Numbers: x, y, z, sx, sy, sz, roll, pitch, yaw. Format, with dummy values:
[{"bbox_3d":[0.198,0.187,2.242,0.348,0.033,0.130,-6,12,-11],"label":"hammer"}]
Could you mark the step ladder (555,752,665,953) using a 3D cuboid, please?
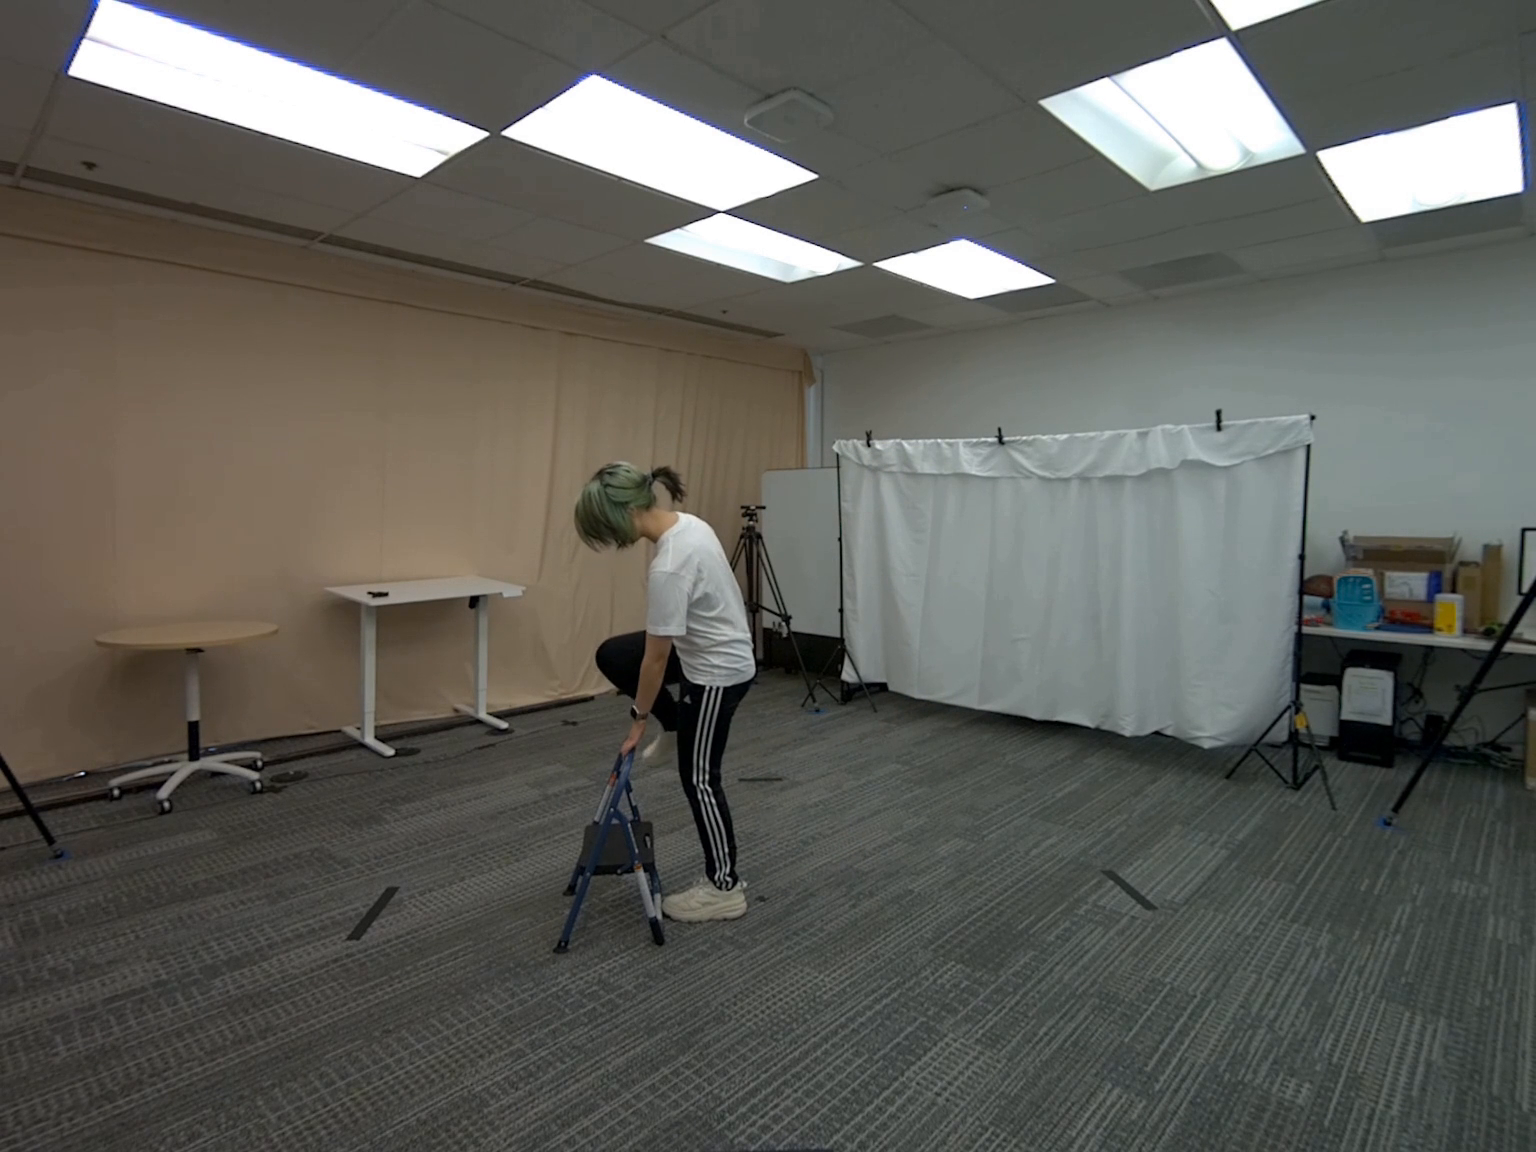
[{"bbox_3d":[-0.533,0.860,2.837,0.346,0.605,0.435,-1,4,-9],"label":"step ladder"}]
